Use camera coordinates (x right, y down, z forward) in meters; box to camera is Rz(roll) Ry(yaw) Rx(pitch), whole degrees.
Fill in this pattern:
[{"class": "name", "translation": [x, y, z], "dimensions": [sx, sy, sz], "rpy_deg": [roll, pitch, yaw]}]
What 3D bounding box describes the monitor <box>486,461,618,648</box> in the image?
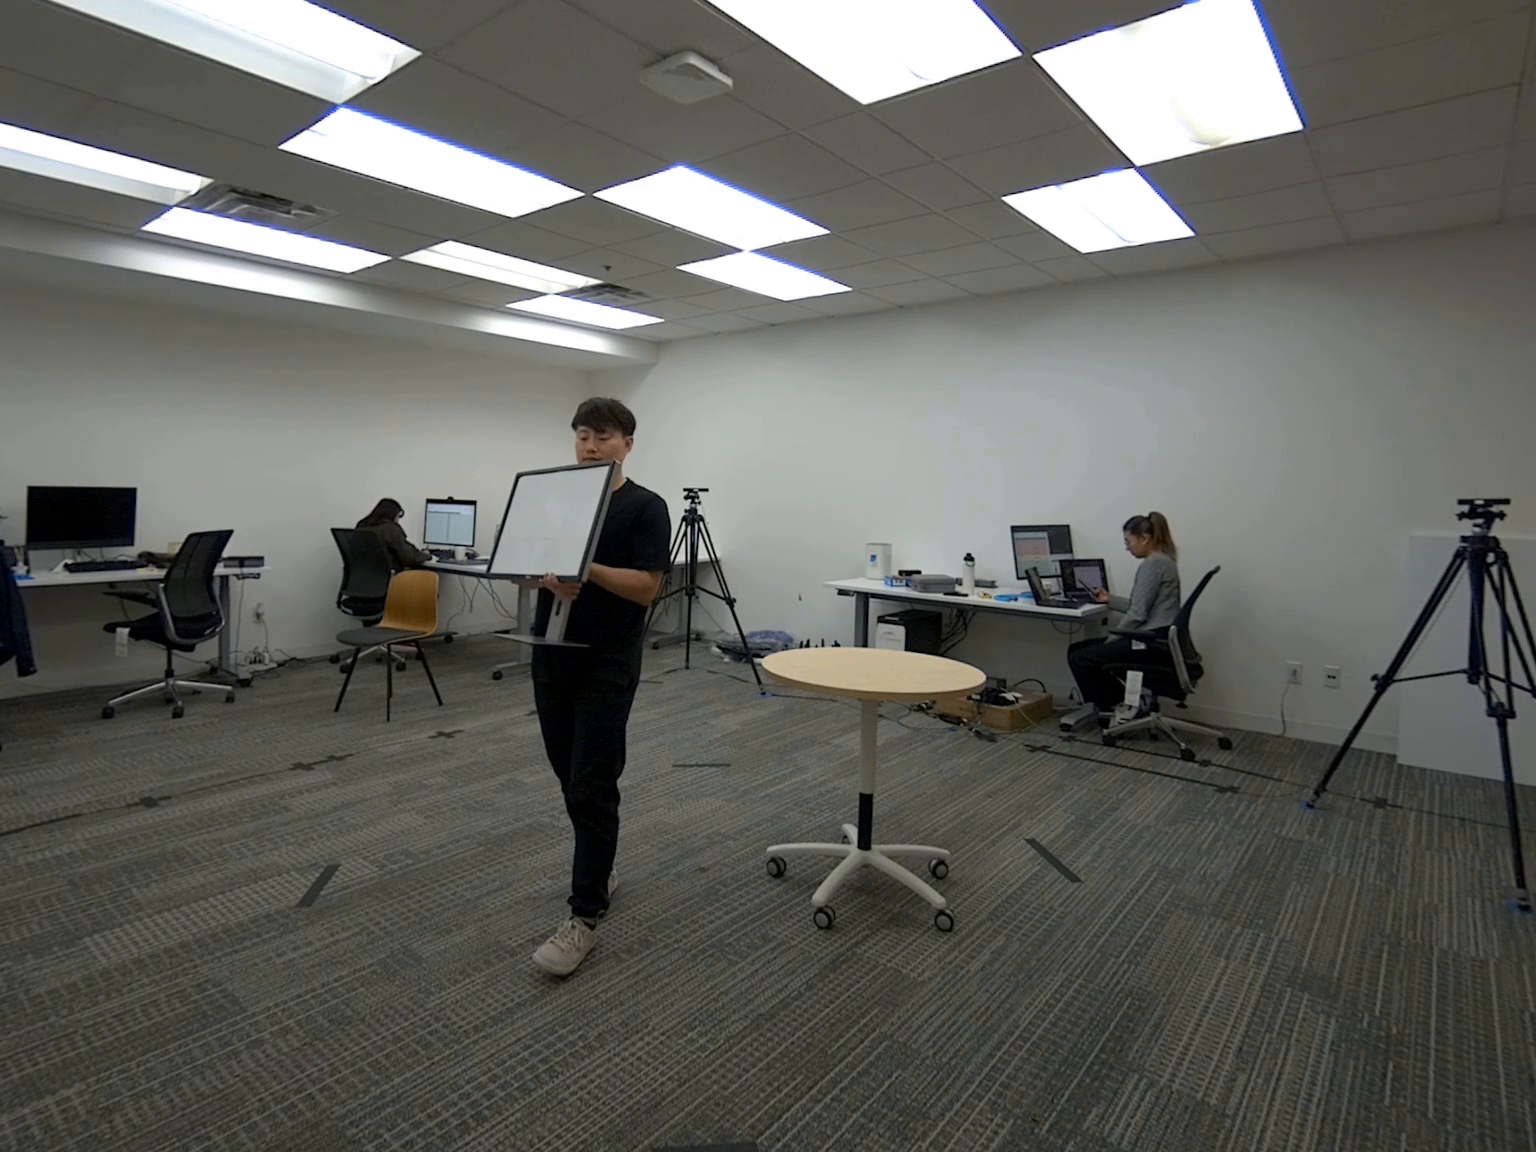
[{"class": "monitor", "translation": [-0.662, -0.071, 2.578], "dimensions": [0.556, 0.525, 0.180], "rpy_deg": [0, -7, 45]}]
